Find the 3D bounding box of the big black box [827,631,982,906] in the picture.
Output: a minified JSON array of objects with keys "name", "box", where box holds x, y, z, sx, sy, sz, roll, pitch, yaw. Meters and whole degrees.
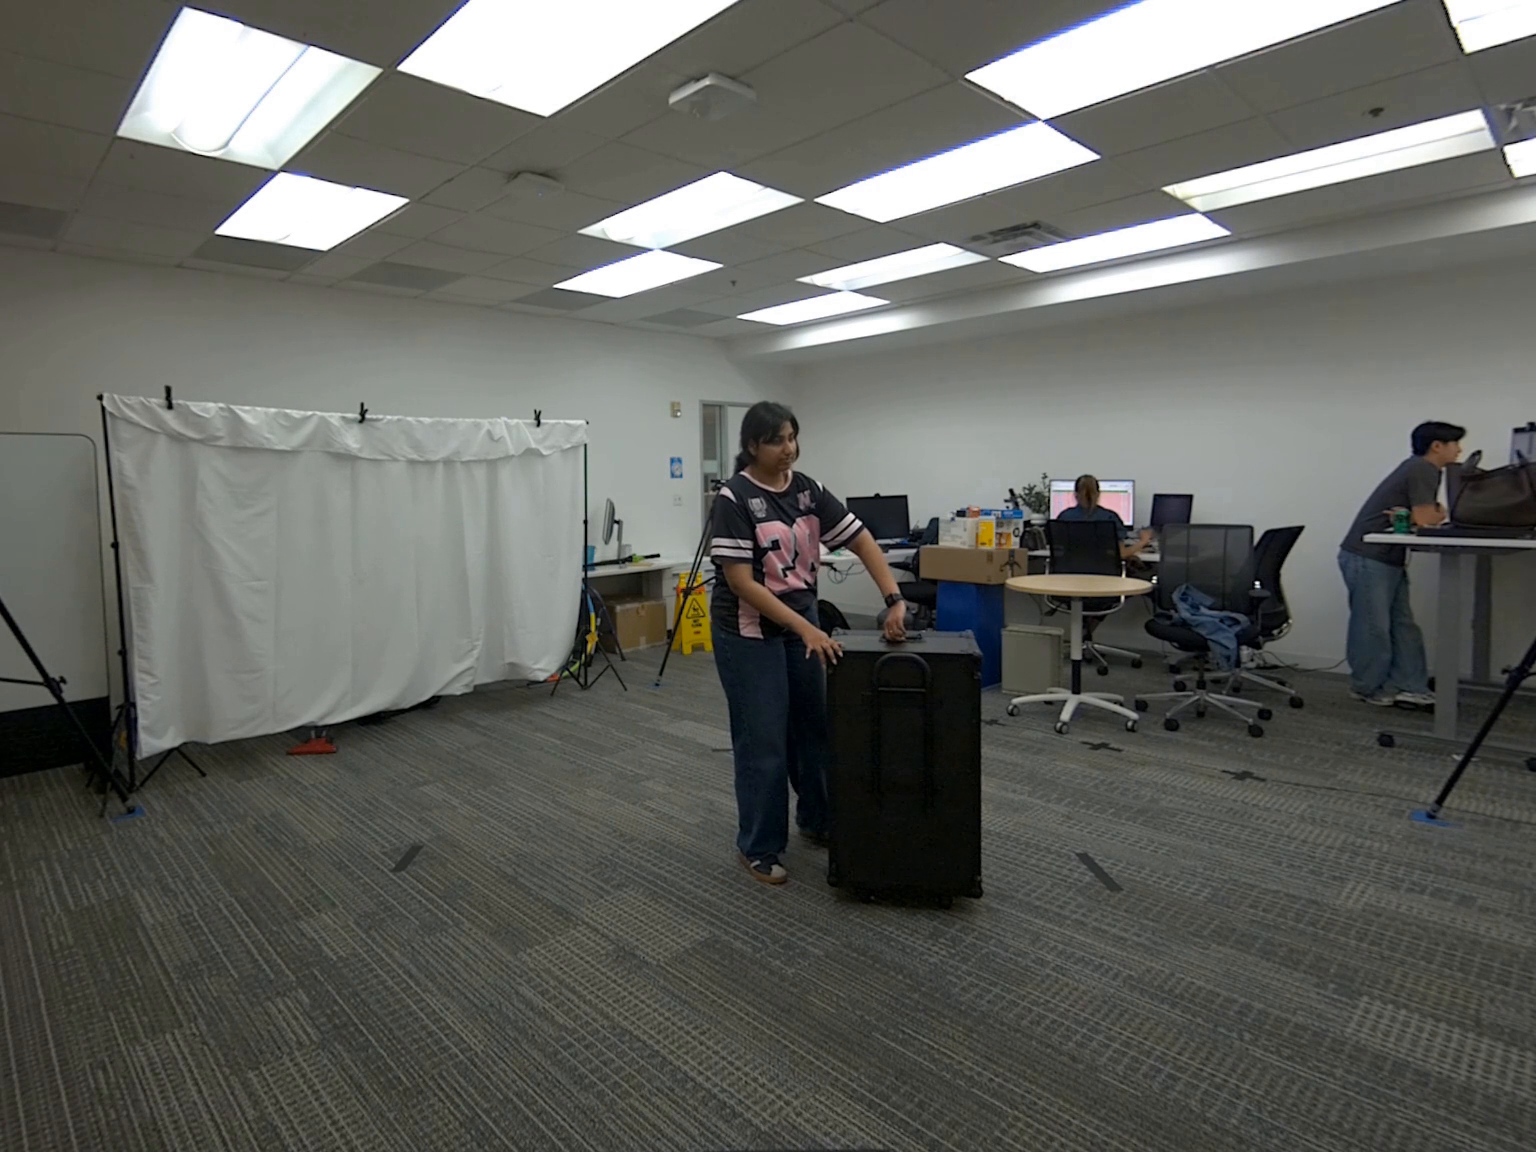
[{"name":"big black box","box":[0.458,0.643,2.871,0.529,0.864,0.383,-1,5,10]}]
